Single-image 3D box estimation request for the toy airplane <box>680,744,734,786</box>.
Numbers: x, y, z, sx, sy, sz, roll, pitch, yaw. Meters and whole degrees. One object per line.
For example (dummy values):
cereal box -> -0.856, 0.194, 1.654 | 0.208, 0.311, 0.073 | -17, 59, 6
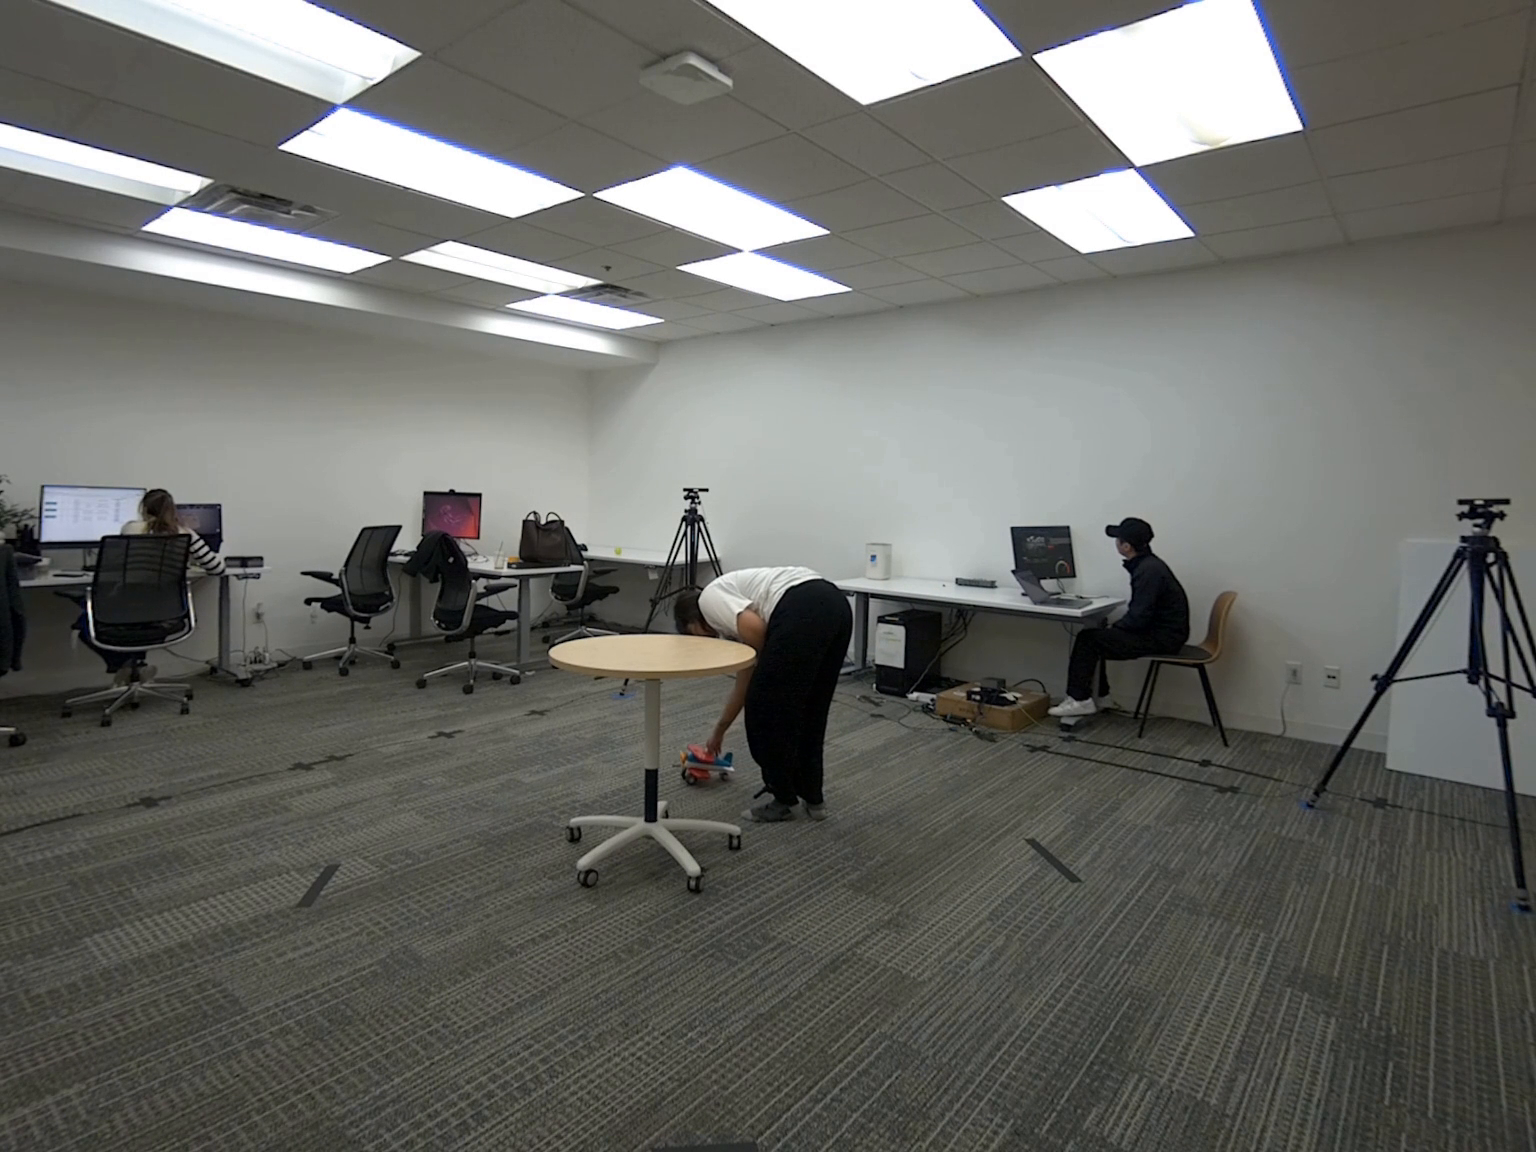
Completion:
toy airplane -> -0.315, 0.902, 4.087 | 0.259, 0.156, 0.251 | 4, 6, 43
